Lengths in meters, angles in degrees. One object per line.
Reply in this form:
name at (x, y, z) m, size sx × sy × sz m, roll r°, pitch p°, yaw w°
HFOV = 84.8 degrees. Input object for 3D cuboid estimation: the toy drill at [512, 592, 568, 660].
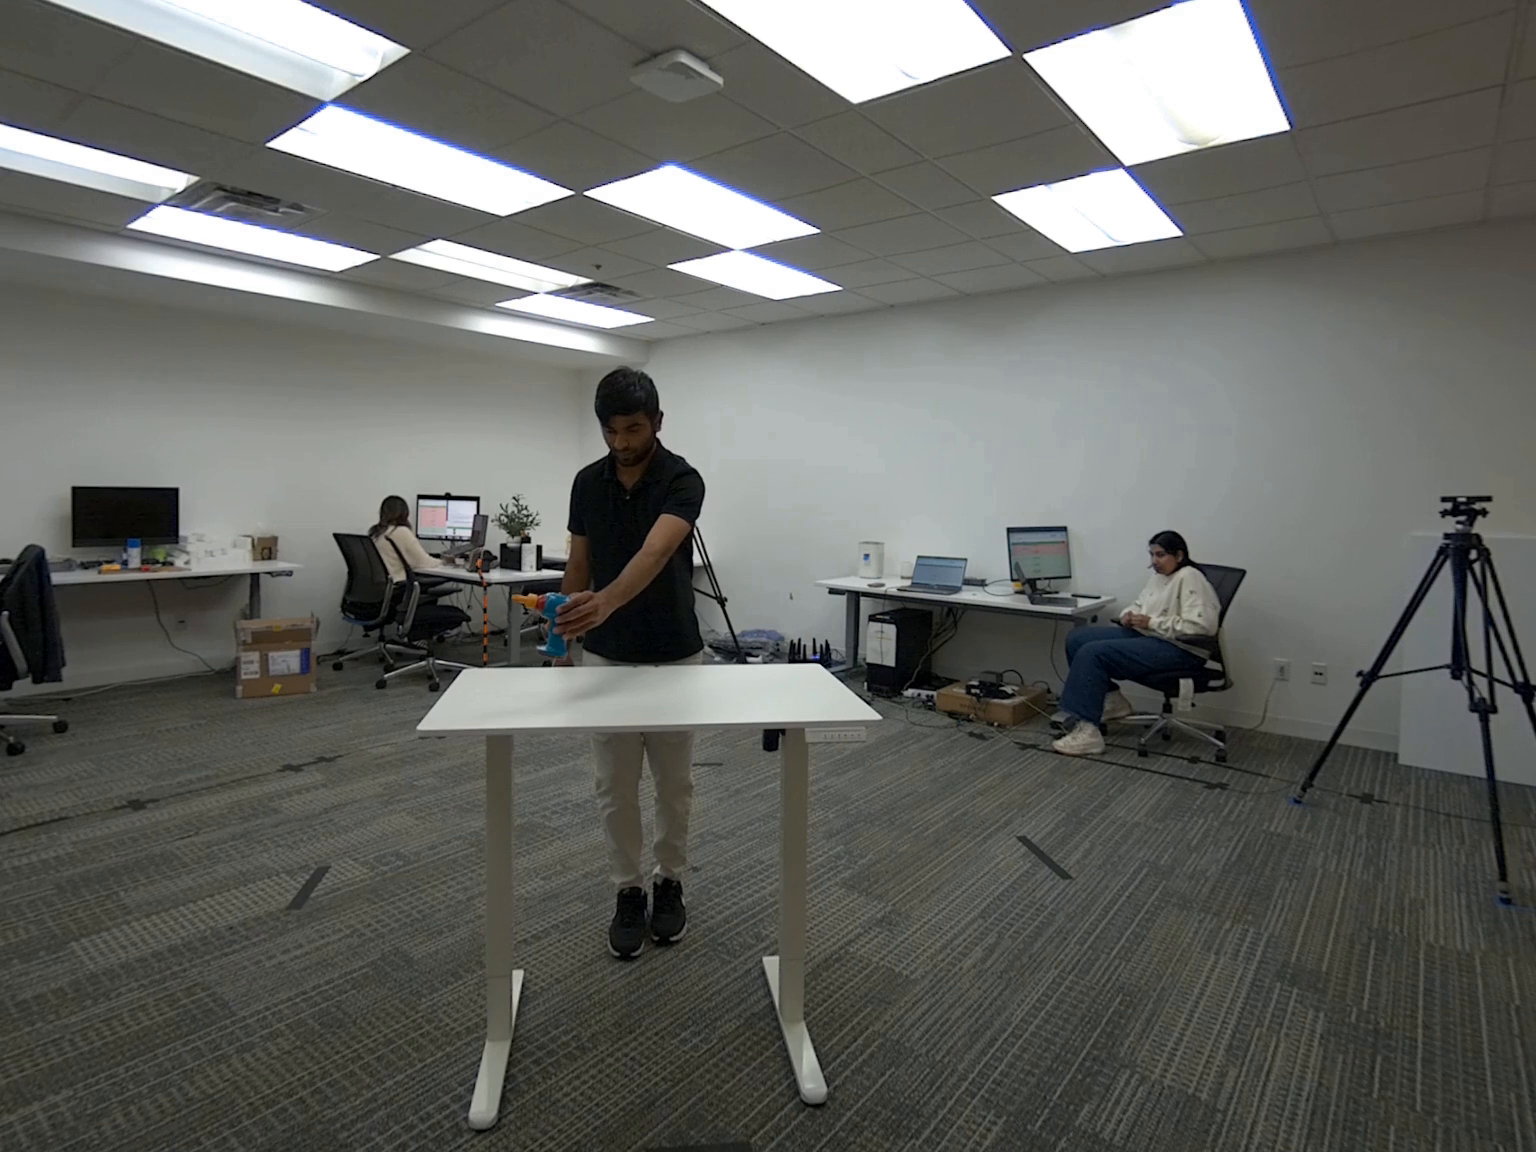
toy drill at (-0.516, 0.104, 1.946) m, size 0.165 × 0.146 × 0.063 m, roll 13°, pitch 3°, yaw -24°
